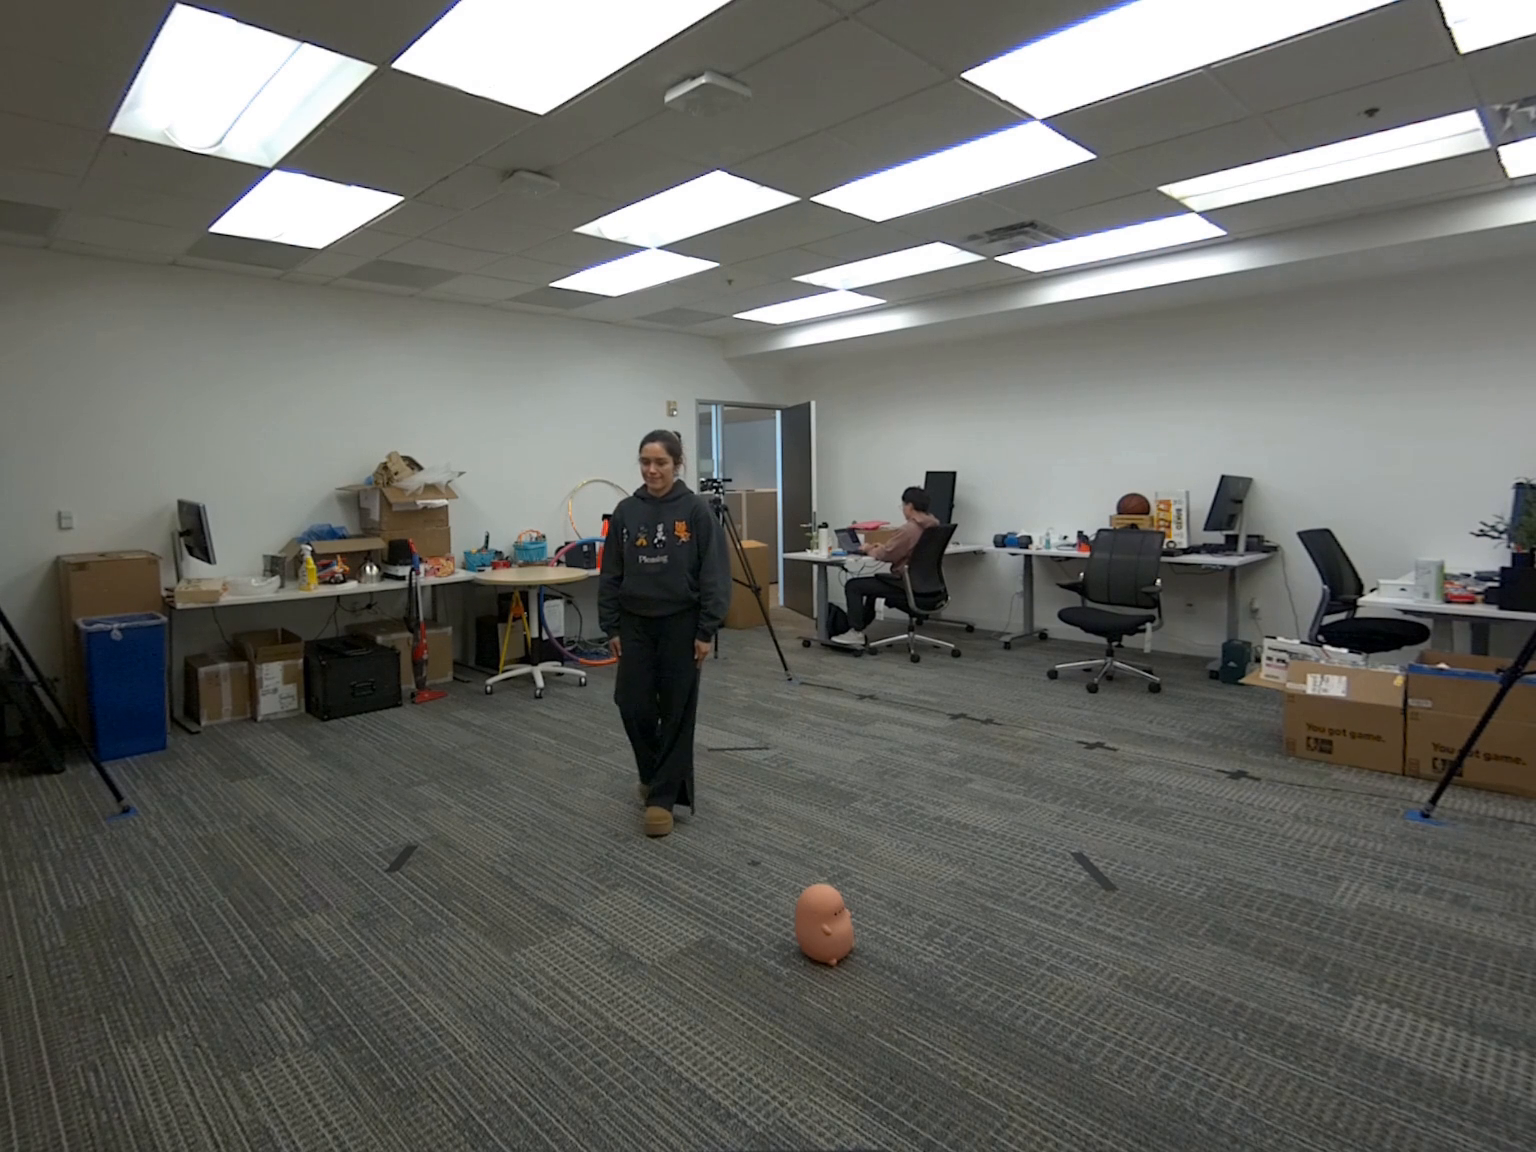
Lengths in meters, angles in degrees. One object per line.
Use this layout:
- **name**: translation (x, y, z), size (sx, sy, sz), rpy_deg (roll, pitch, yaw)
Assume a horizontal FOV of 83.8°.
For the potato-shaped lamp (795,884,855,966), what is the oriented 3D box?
- **potato-shaped lamp**: translation (0.167, 1.010, 2.500), size (0.176, 0.197, 0.161), rpy_deg (5, 8, 34)
